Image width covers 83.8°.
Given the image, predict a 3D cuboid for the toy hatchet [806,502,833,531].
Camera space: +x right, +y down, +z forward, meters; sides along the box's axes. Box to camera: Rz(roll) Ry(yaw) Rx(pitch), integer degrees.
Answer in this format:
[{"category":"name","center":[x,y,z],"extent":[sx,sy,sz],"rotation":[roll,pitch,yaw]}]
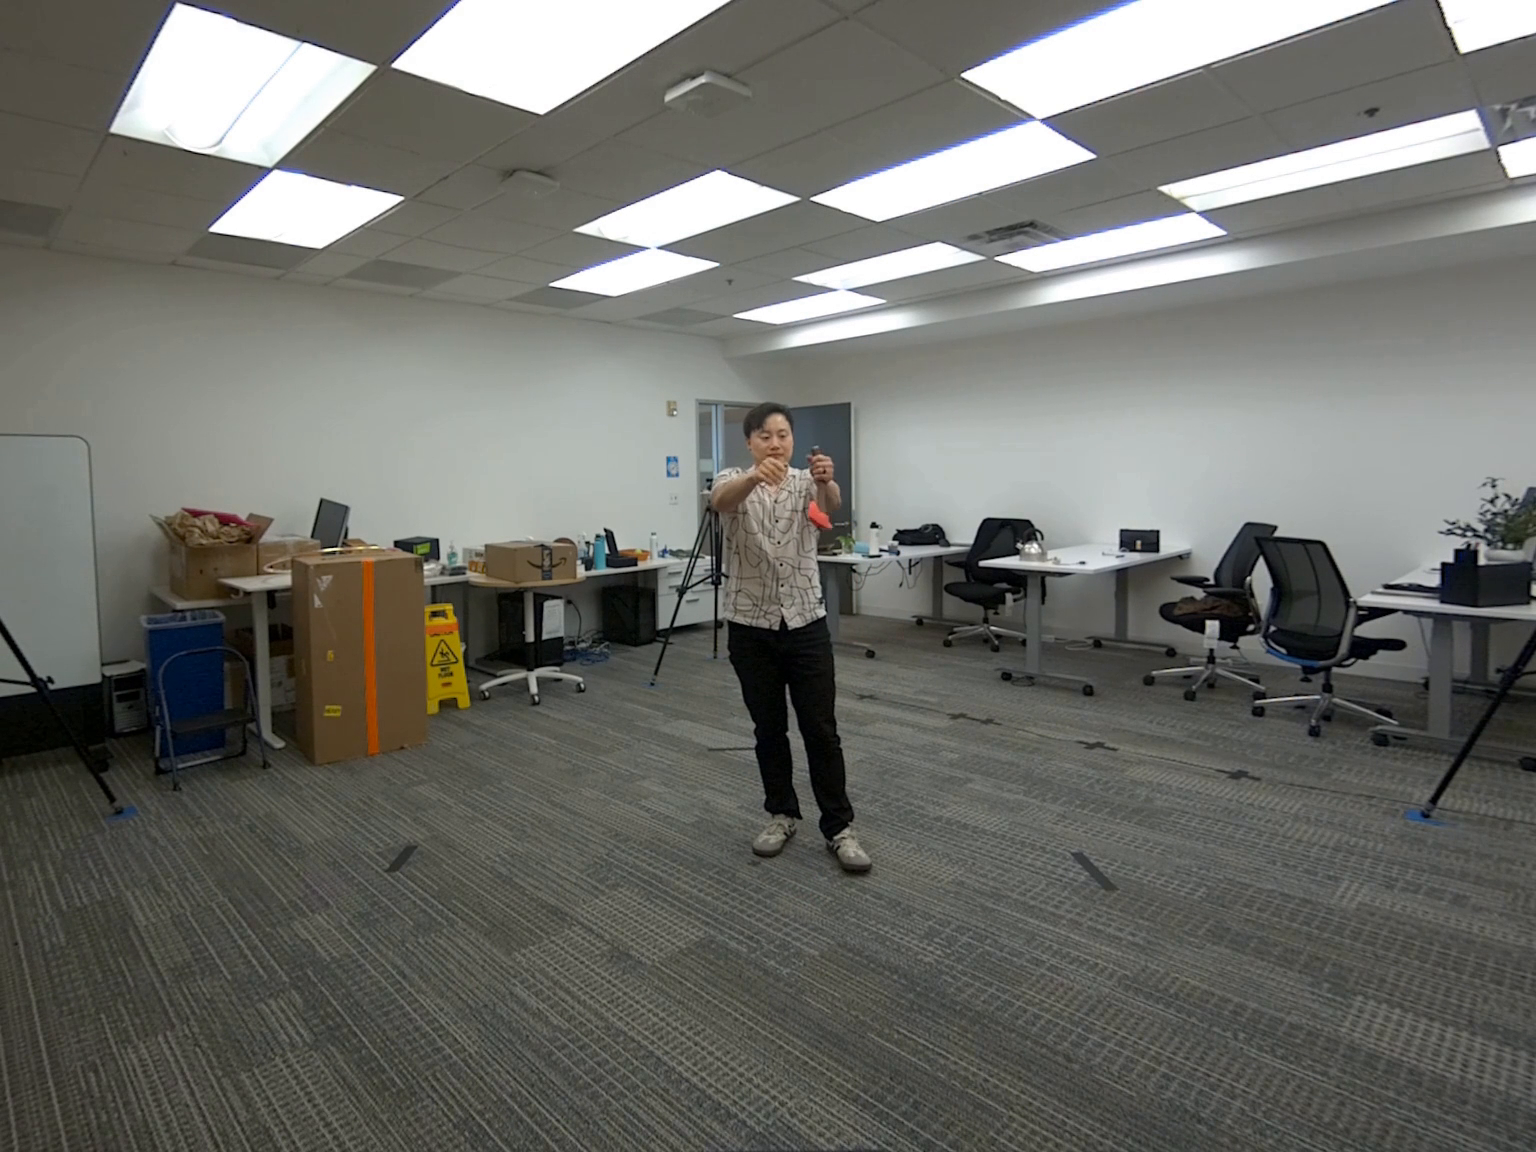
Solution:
[{"category":"toy hatchet","center":[0.136,-0.270,2.661],"extent":[0.030,0.272,0.128],"rotation":[-17,-8,35]}]
